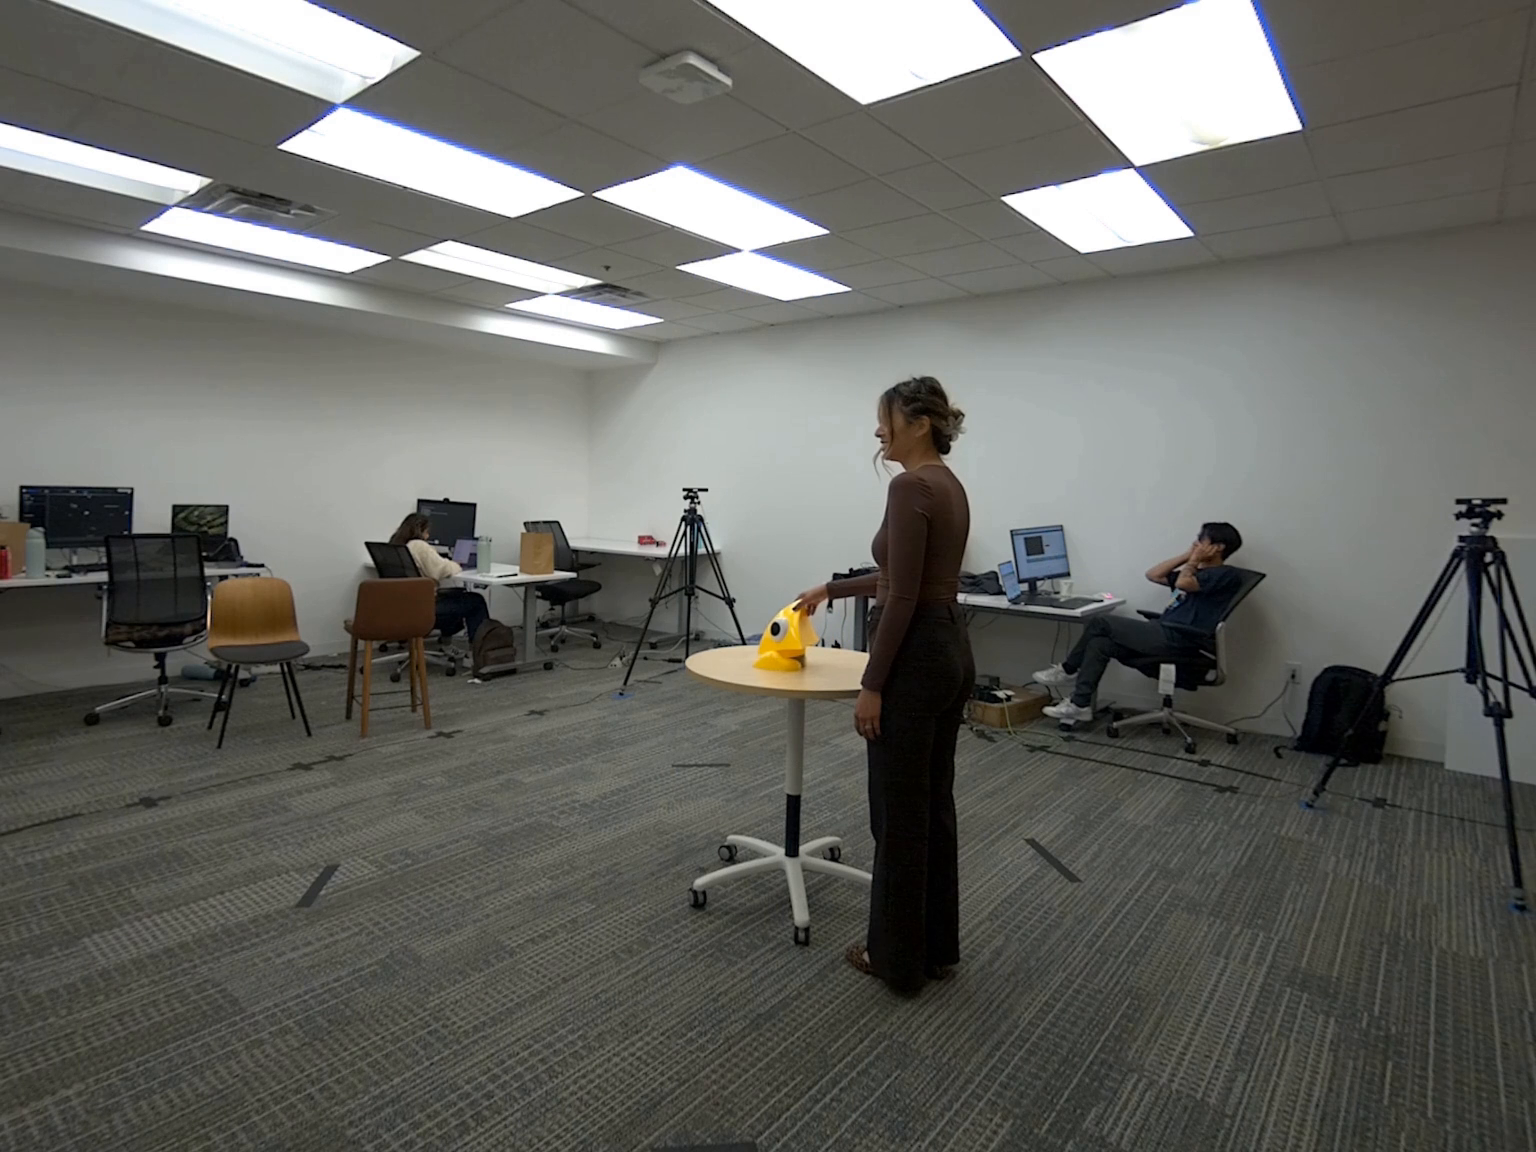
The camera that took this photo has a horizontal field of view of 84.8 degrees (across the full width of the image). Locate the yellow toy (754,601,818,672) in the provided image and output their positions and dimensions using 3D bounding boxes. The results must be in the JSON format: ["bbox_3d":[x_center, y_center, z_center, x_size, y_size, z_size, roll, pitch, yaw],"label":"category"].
[{"bbox_3d":[0.051,0.187,2.874,0.197,0.230,0.201,3,3,21],"label":"yellow toy"}]
